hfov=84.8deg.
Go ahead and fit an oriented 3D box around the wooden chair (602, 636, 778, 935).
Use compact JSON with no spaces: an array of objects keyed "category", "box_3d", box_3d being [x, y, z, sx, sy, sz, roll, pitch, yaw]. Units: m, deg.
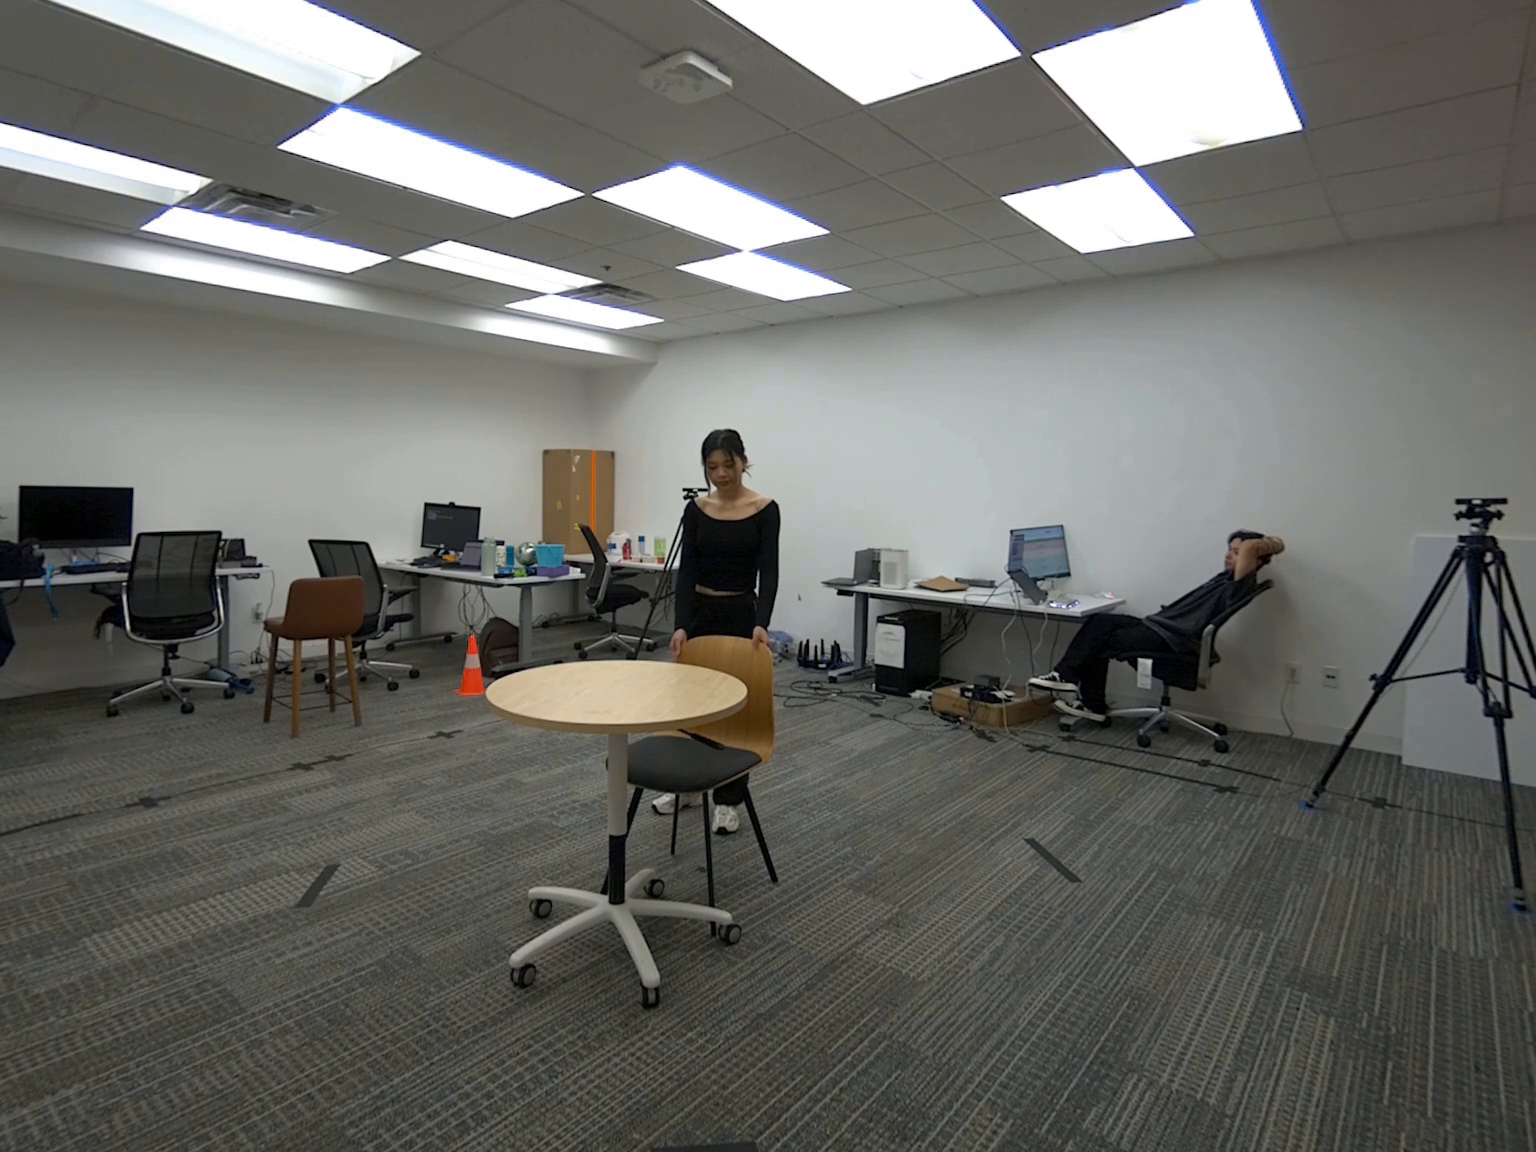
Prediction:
[{"category":"wooden chair","box_3d":[-0.264,0.656,2.909,0.492,0.878,0.508,4,-1,29]}]
